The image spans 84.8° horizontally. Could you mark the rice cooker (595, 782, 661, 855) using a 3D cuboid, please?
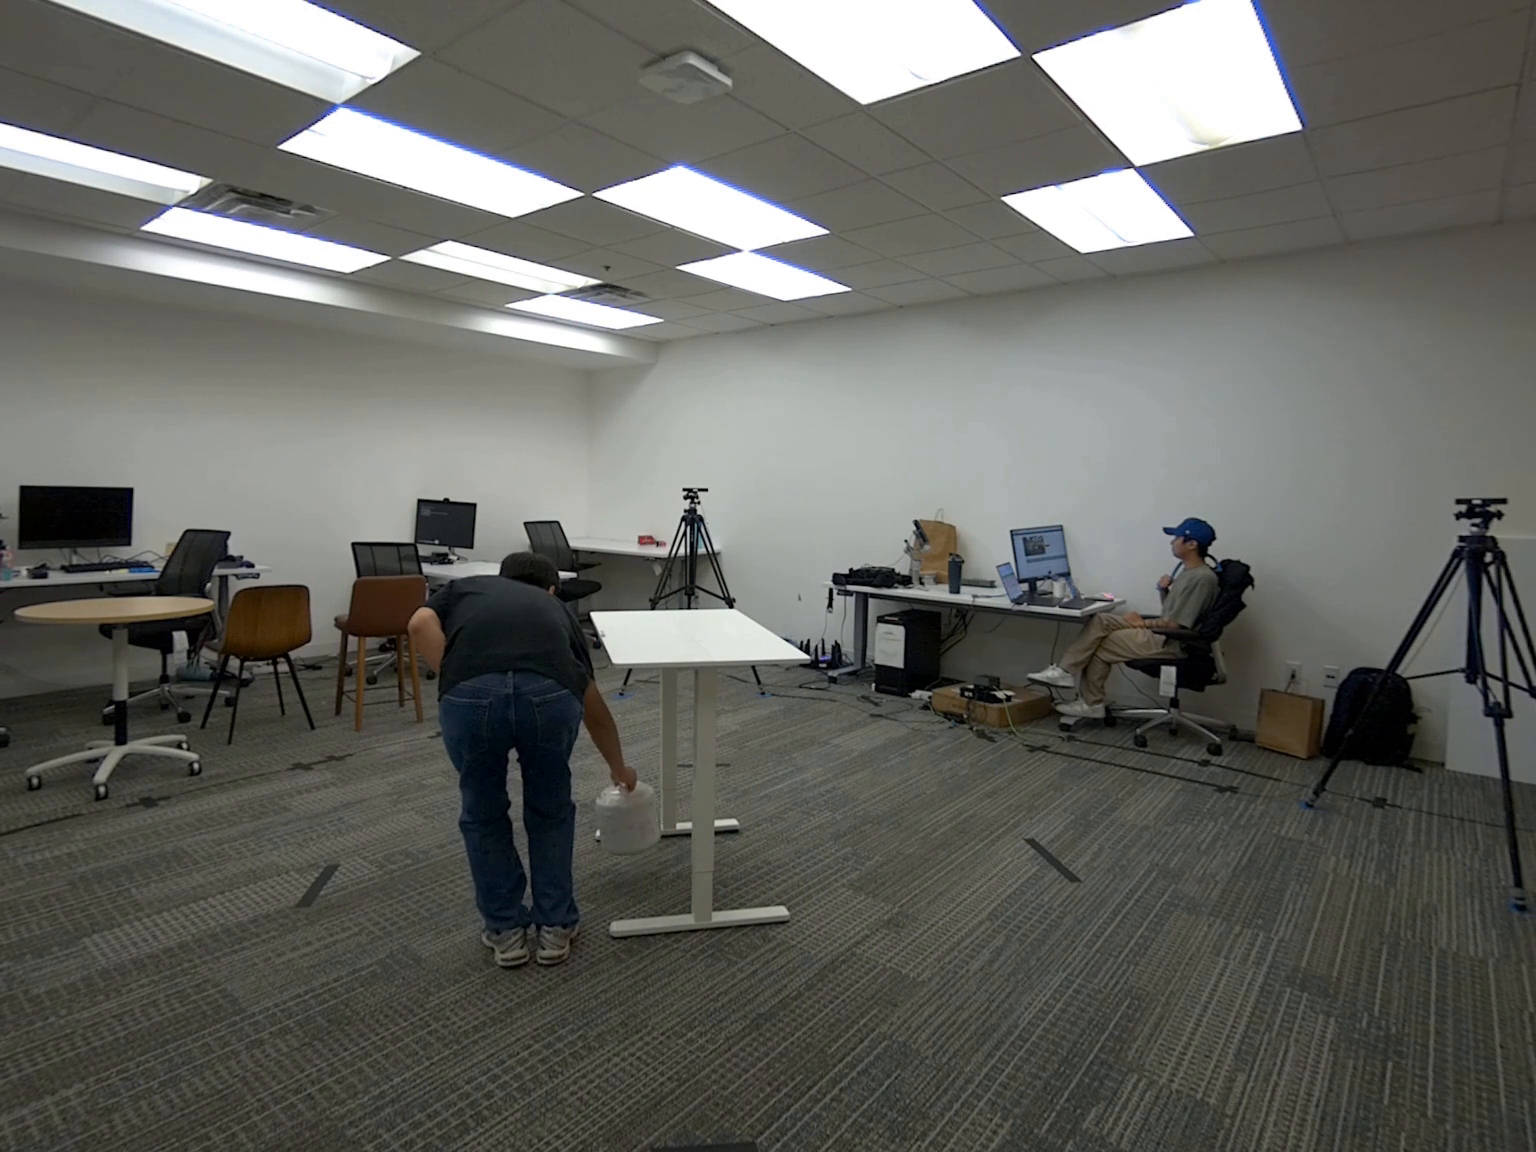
[{"bbox_3d":[-0.514,0.830,3.007,0.216,0.231,0.224,-7,6,-9],"label":"rice cooker"}]
